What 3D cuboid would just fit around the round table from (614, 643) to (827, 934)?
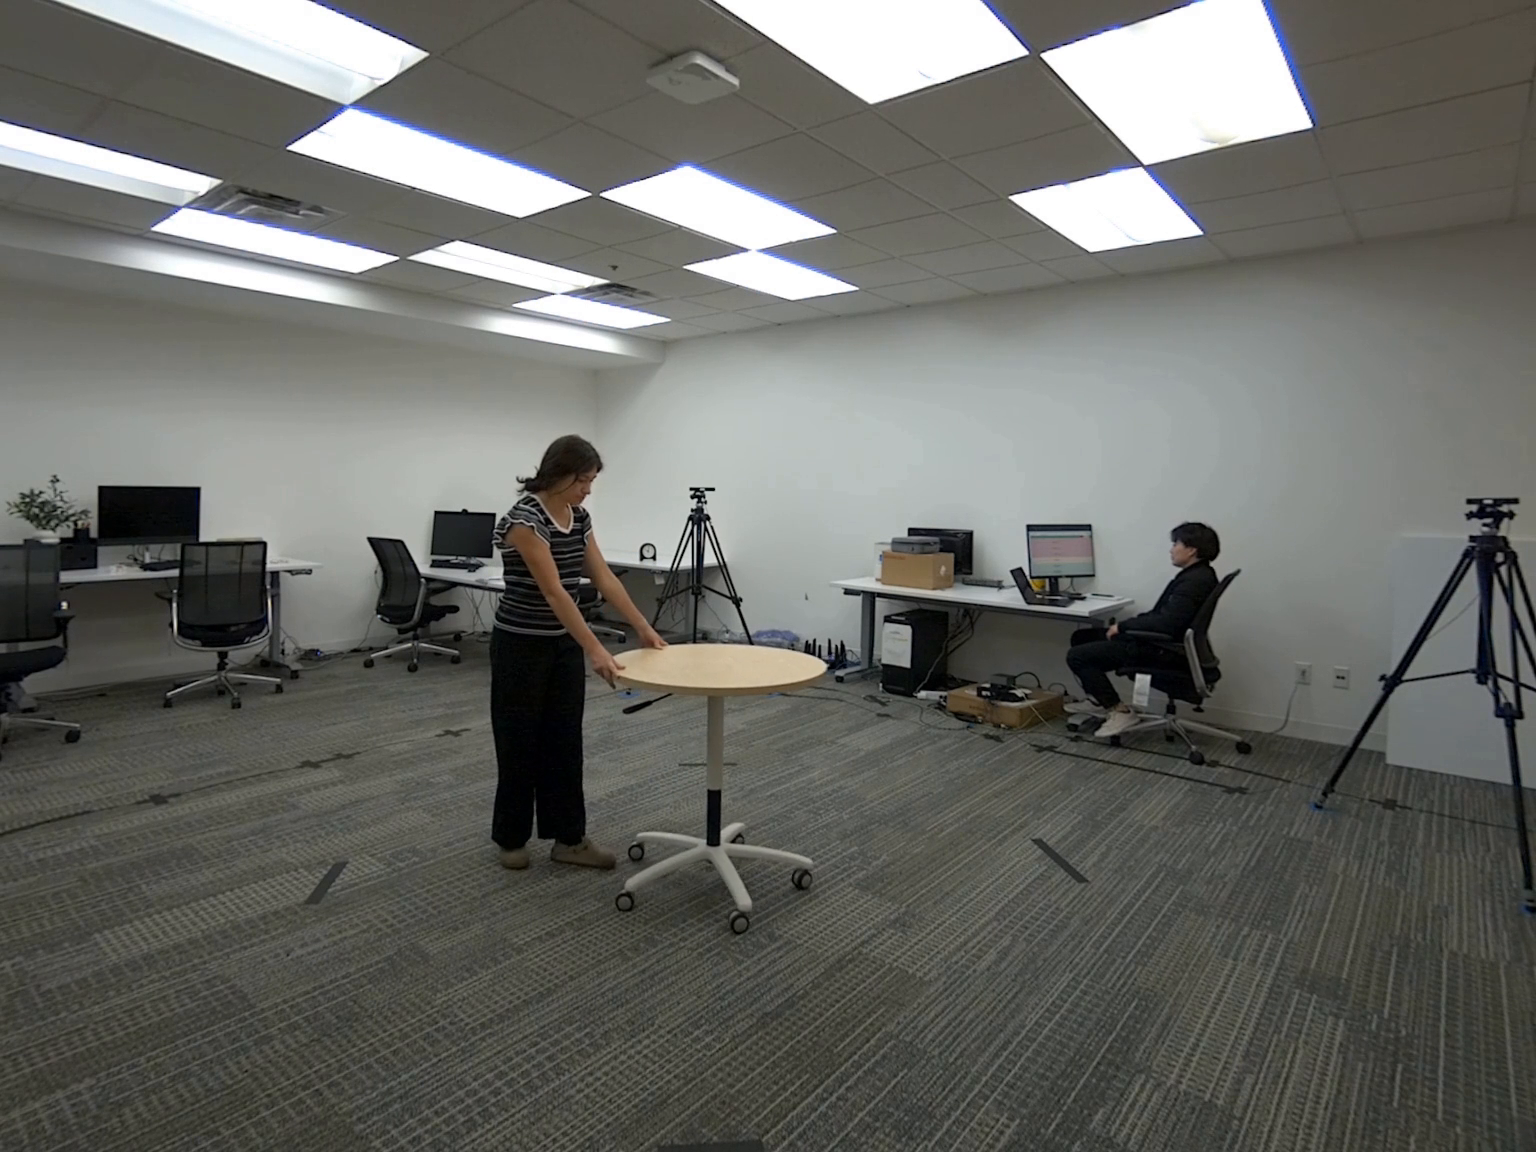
[{"bbox_3d":[-0.193,0.693,2.973,0.763,0.791,0.768,1,4,-2],"label":"round table"}]
